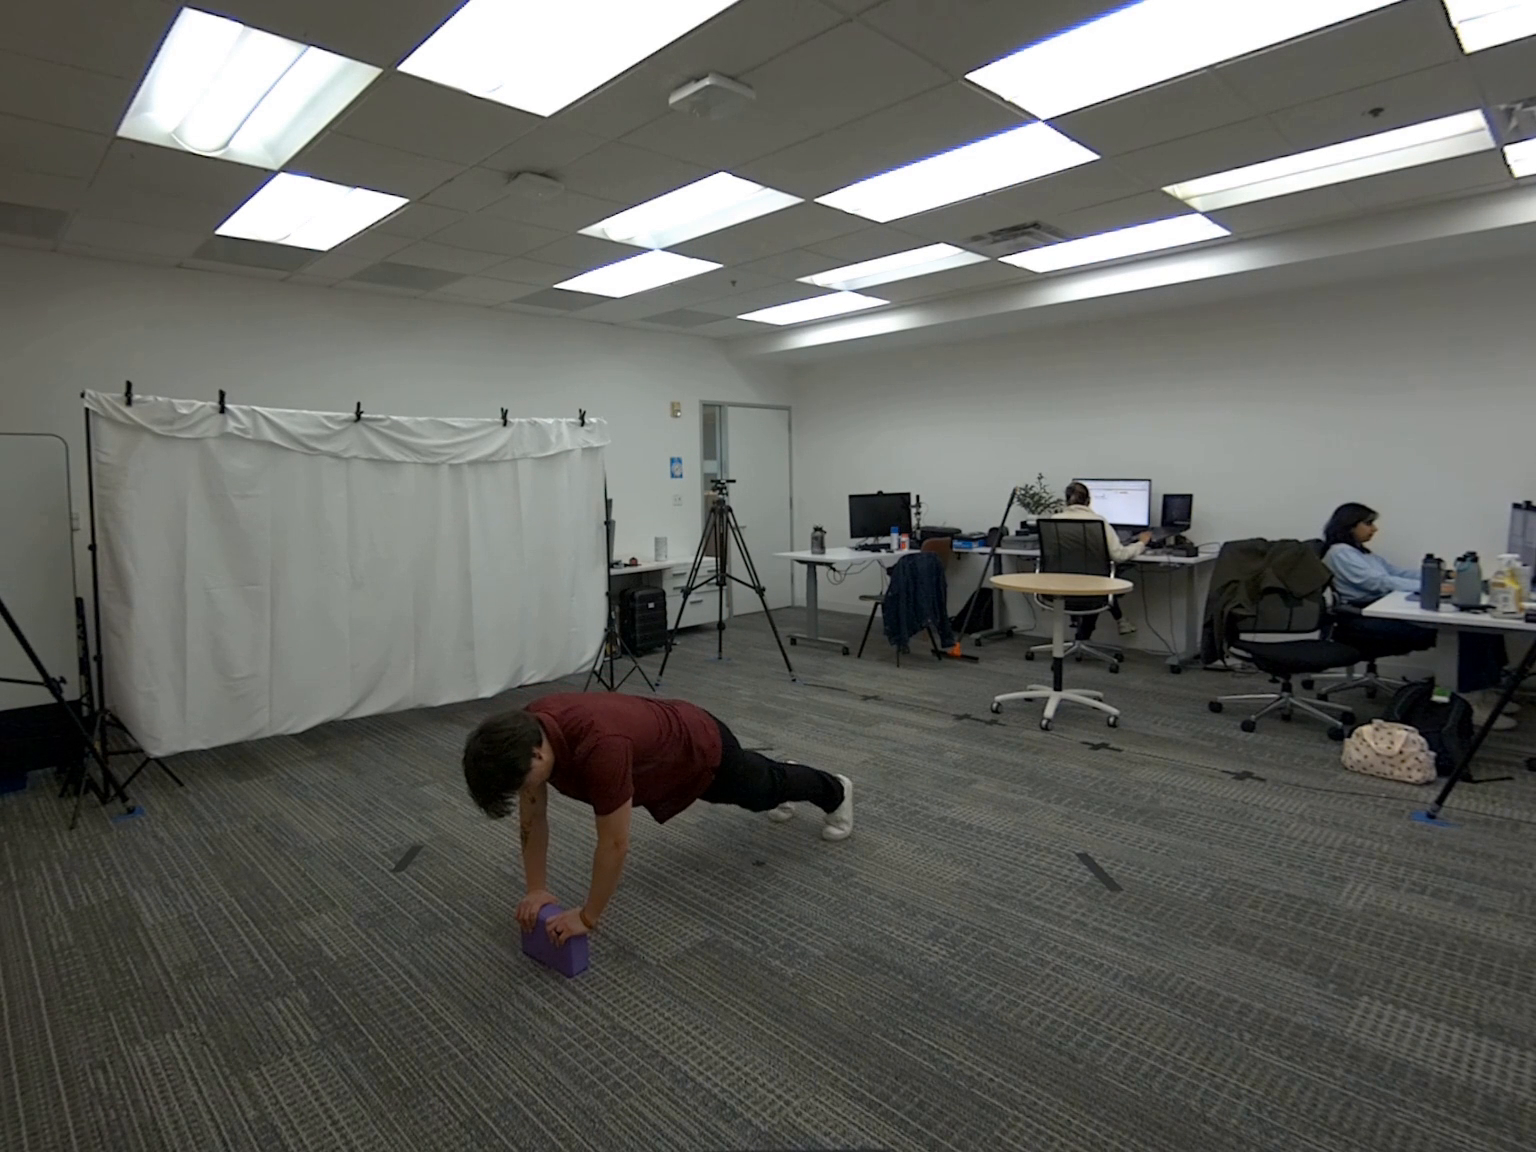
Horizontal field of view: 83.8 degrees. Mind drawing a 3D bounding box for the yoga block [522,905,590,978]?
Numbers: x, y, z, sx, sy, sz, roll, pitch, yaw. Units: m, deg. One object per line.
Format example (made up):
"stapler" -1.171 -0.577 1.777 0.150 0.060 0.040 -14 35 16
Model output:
"yoga block" -0.622 1.060 2.505 0.236 0.148 0.074 3 6 38
